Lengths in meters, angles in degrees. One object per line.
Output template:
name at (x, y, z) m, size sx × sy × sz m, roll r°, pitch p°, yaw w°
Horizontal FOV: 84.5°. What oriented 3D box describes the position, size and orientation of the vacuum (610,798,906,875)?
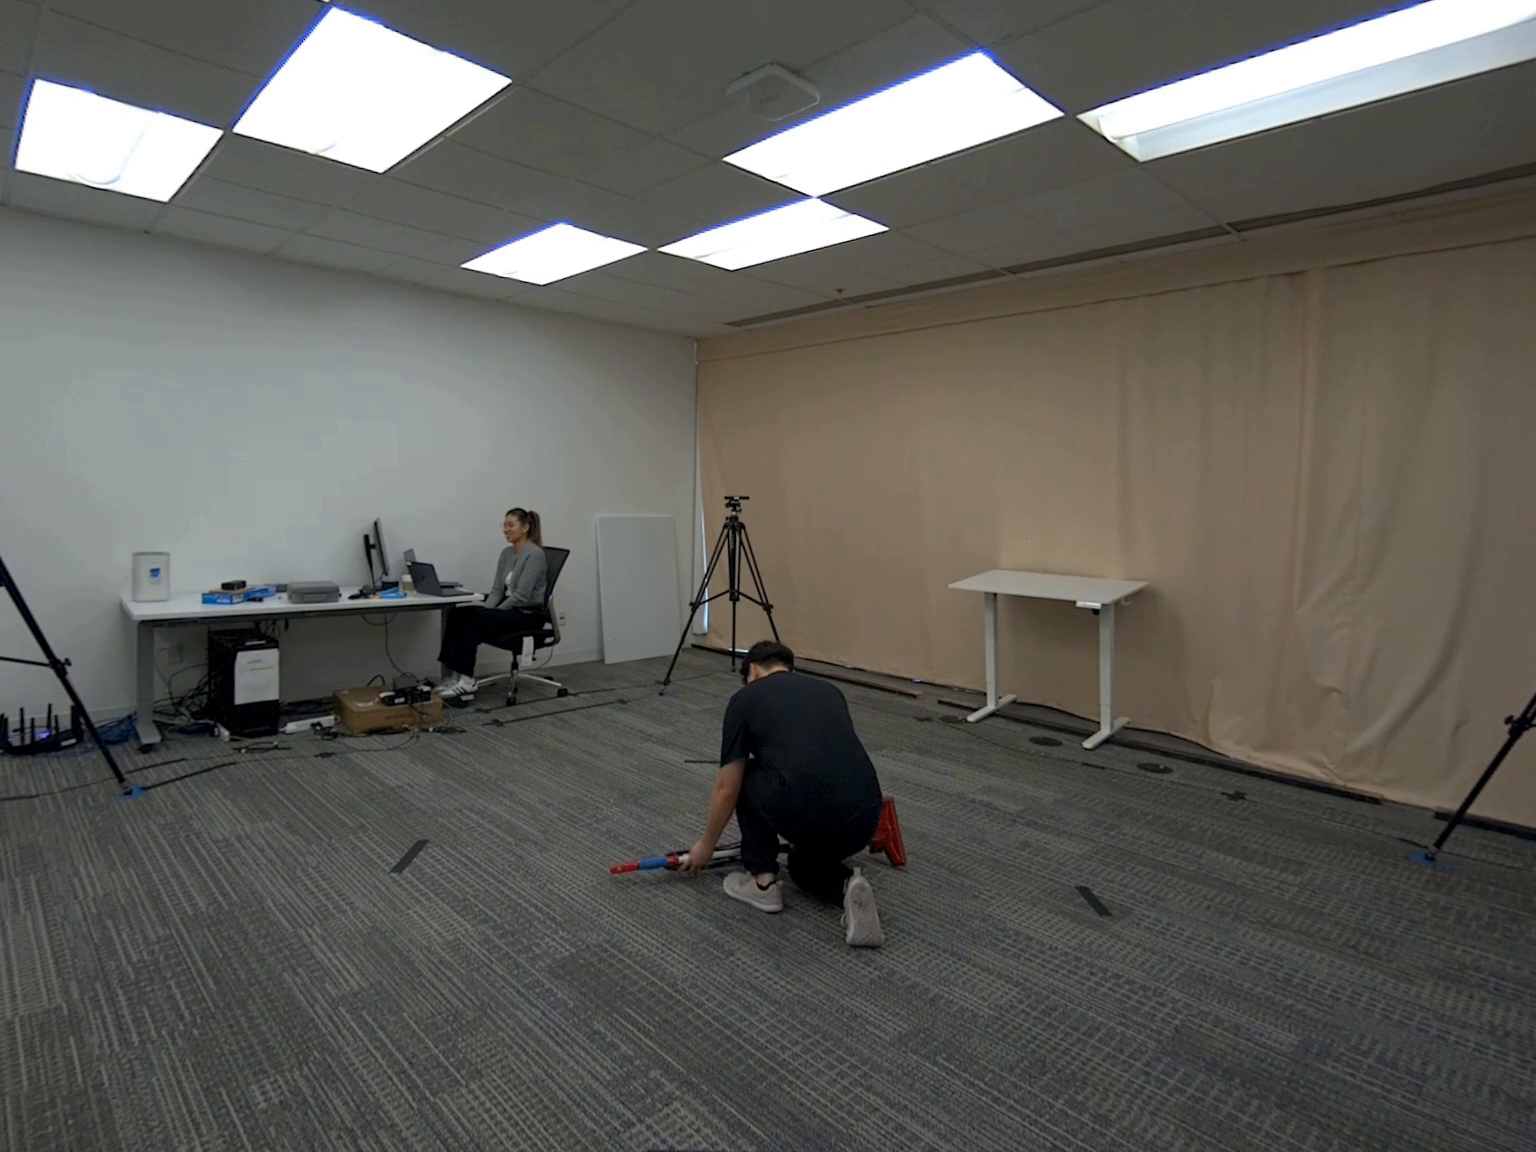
vacuum at (-0.050, 1.023, 3.147) m, size 1.040 × 0.257 × 0.142 m, roll -3°, pitch -24°, yaw -12°
